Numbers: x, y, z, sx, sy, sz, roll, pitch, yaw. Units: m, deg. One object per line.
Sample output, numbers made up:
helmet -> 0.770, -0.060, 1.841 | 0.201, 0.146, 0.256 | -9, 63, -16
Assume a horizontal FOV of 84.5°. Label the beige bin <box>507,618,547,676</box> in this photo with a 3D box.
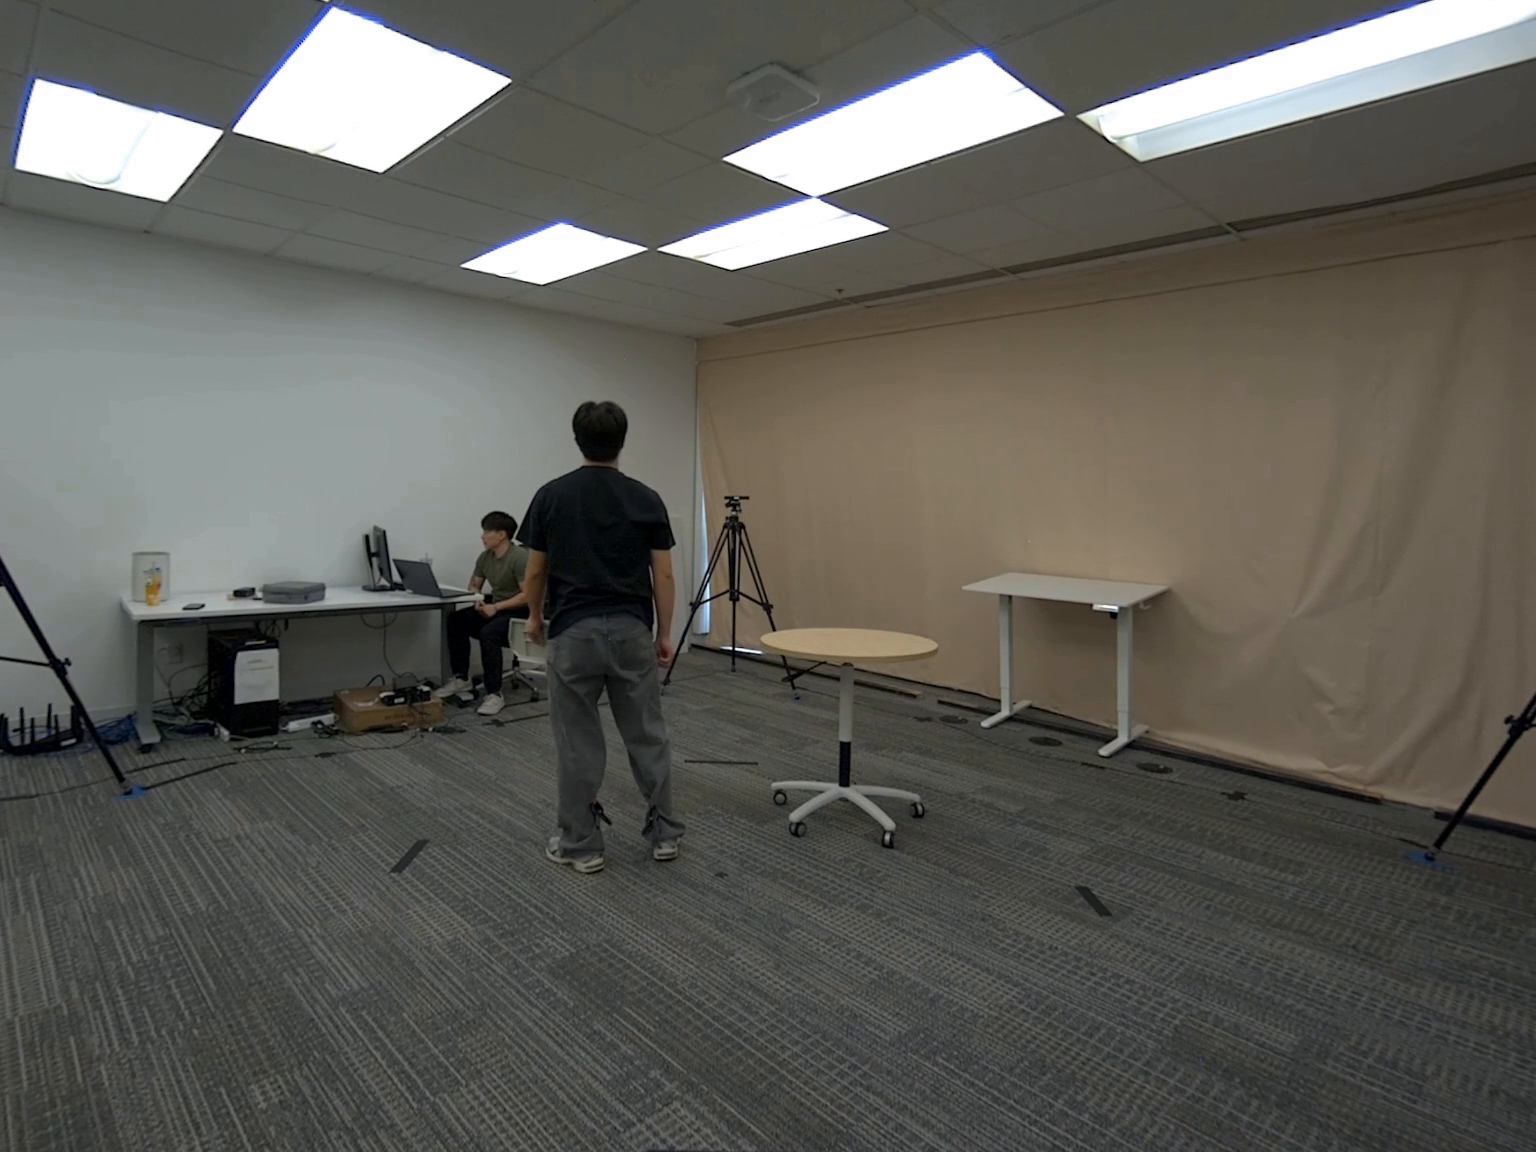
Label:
beige bin -> -0.821, 0.251, 3.588 | 0.386, 0.188, 0.414 | 2, 8, 42
